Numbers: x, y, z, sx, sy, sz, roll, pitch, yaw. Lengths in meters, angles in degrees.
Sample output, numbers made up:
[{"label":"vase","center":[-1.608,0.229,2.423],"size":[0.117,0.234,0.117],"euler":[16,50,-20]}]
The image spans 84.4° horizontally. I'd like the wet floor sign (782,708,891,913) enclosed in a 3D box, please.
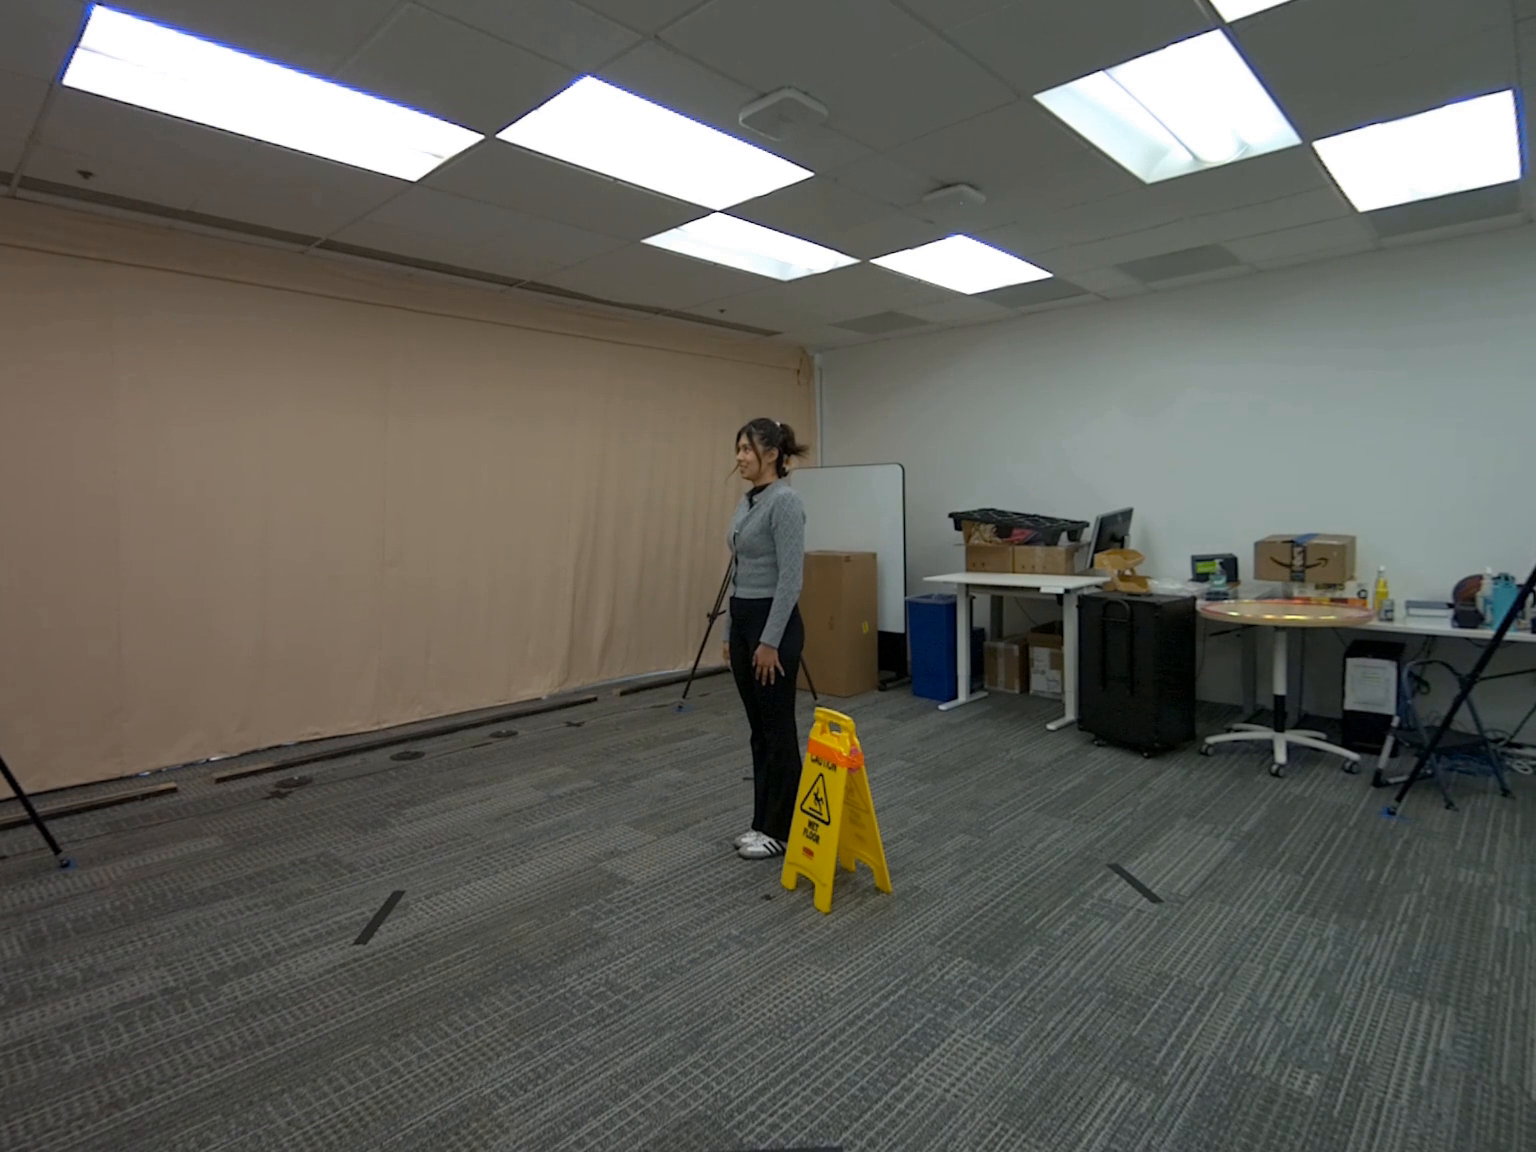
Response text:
[{"label":"wet floor sign","center":[0.244,0.808,3.023],"size":[0.282,0.645,0.291],"euler":[-3,4,-32]}]
